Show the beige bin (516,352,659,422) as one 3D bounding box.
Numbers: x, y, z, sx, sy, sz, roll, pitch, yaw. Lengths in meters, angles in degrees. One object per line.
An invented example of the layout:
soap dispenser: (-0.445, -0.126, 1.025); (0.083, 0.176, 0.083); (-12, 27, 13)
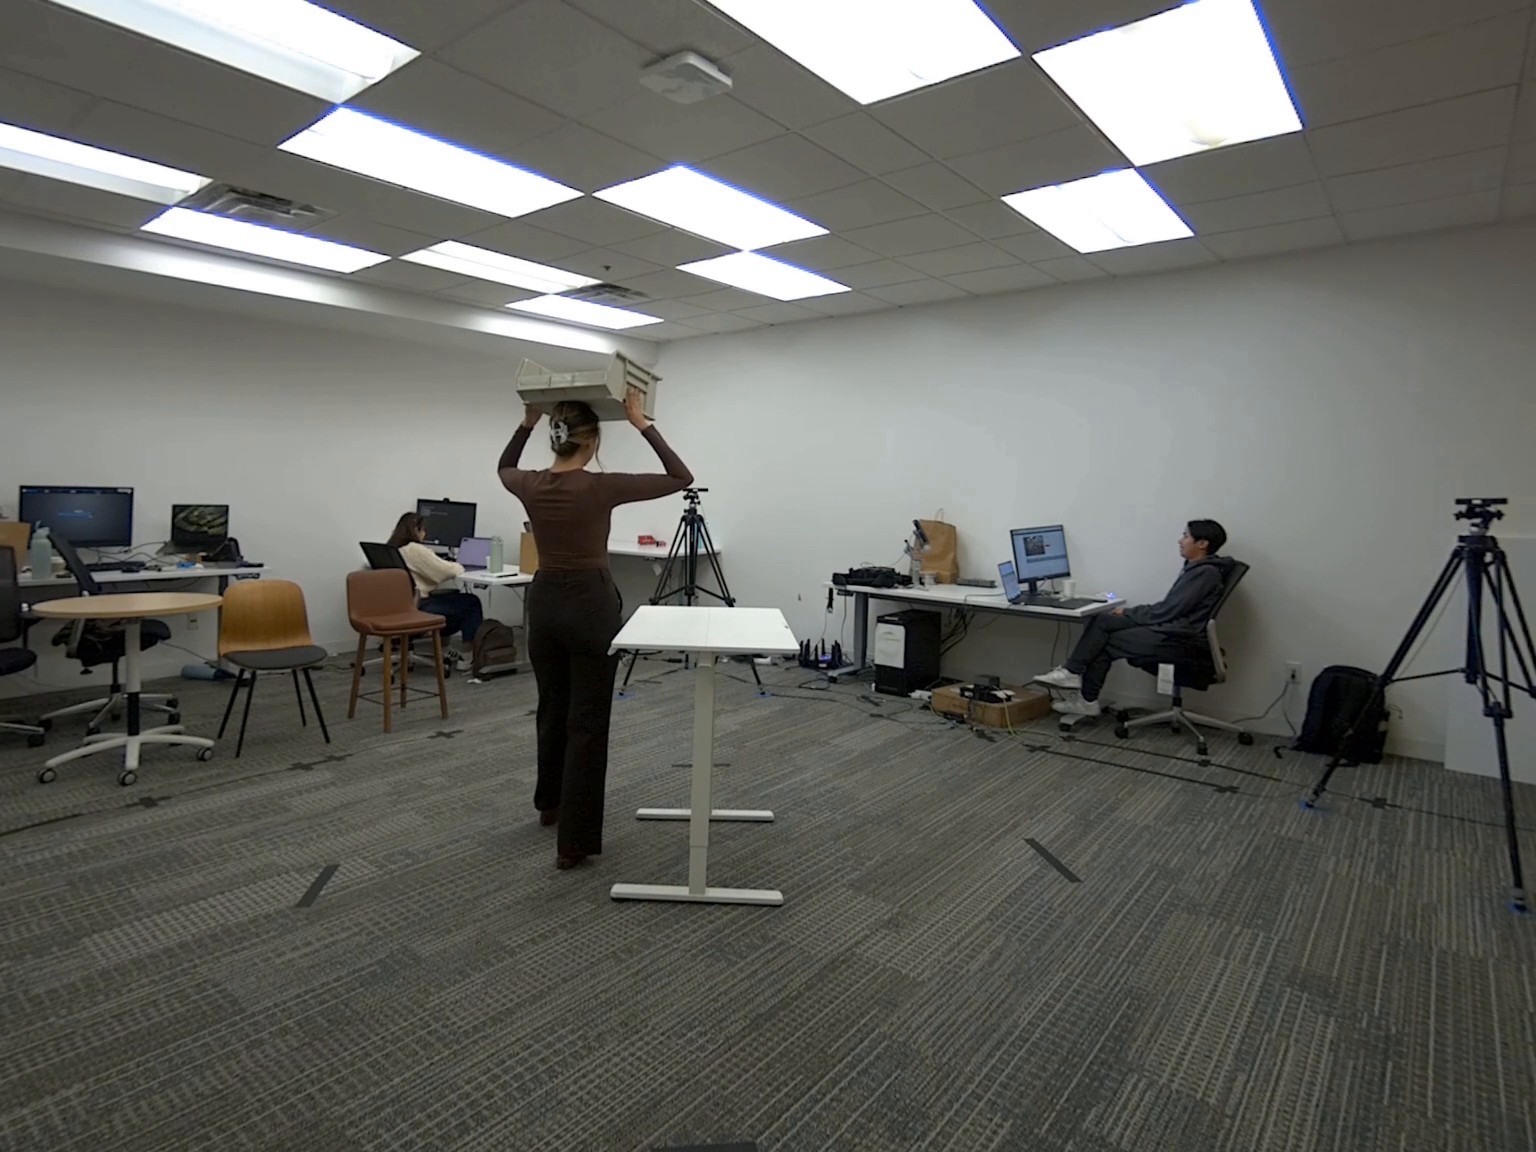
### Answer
beige bin: (-0.700, -0.722, 3.267); (0.432, 0.190, 0.366); (2, -6, 23)
